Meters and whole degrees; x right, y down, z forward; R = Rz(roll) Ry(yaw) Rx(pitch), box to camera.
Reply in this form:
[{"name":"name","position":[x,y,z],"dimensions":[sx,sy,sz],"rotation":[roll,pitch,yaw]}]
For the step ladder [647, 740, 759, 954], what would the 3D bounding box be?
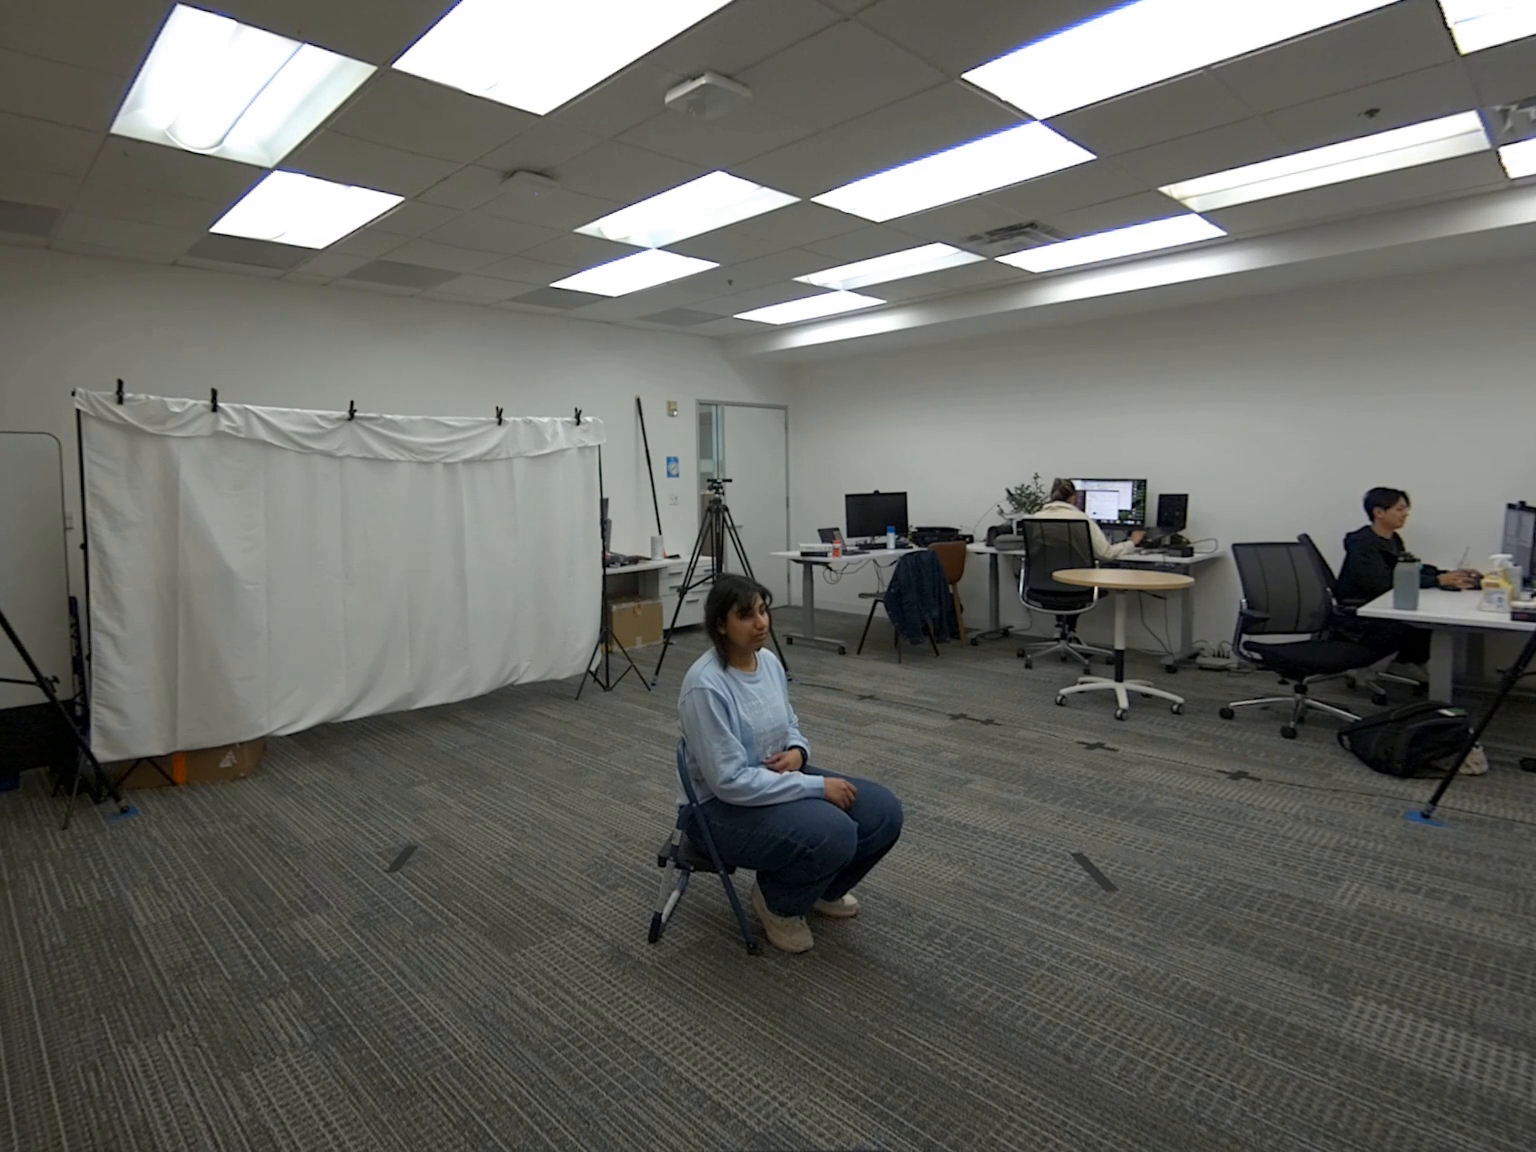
[{"name":"step ladder","position":[-0.170,0.798,2.732],"dimensions":[0.353,0.604,0.428],"rotation":[1,3,9]}]
